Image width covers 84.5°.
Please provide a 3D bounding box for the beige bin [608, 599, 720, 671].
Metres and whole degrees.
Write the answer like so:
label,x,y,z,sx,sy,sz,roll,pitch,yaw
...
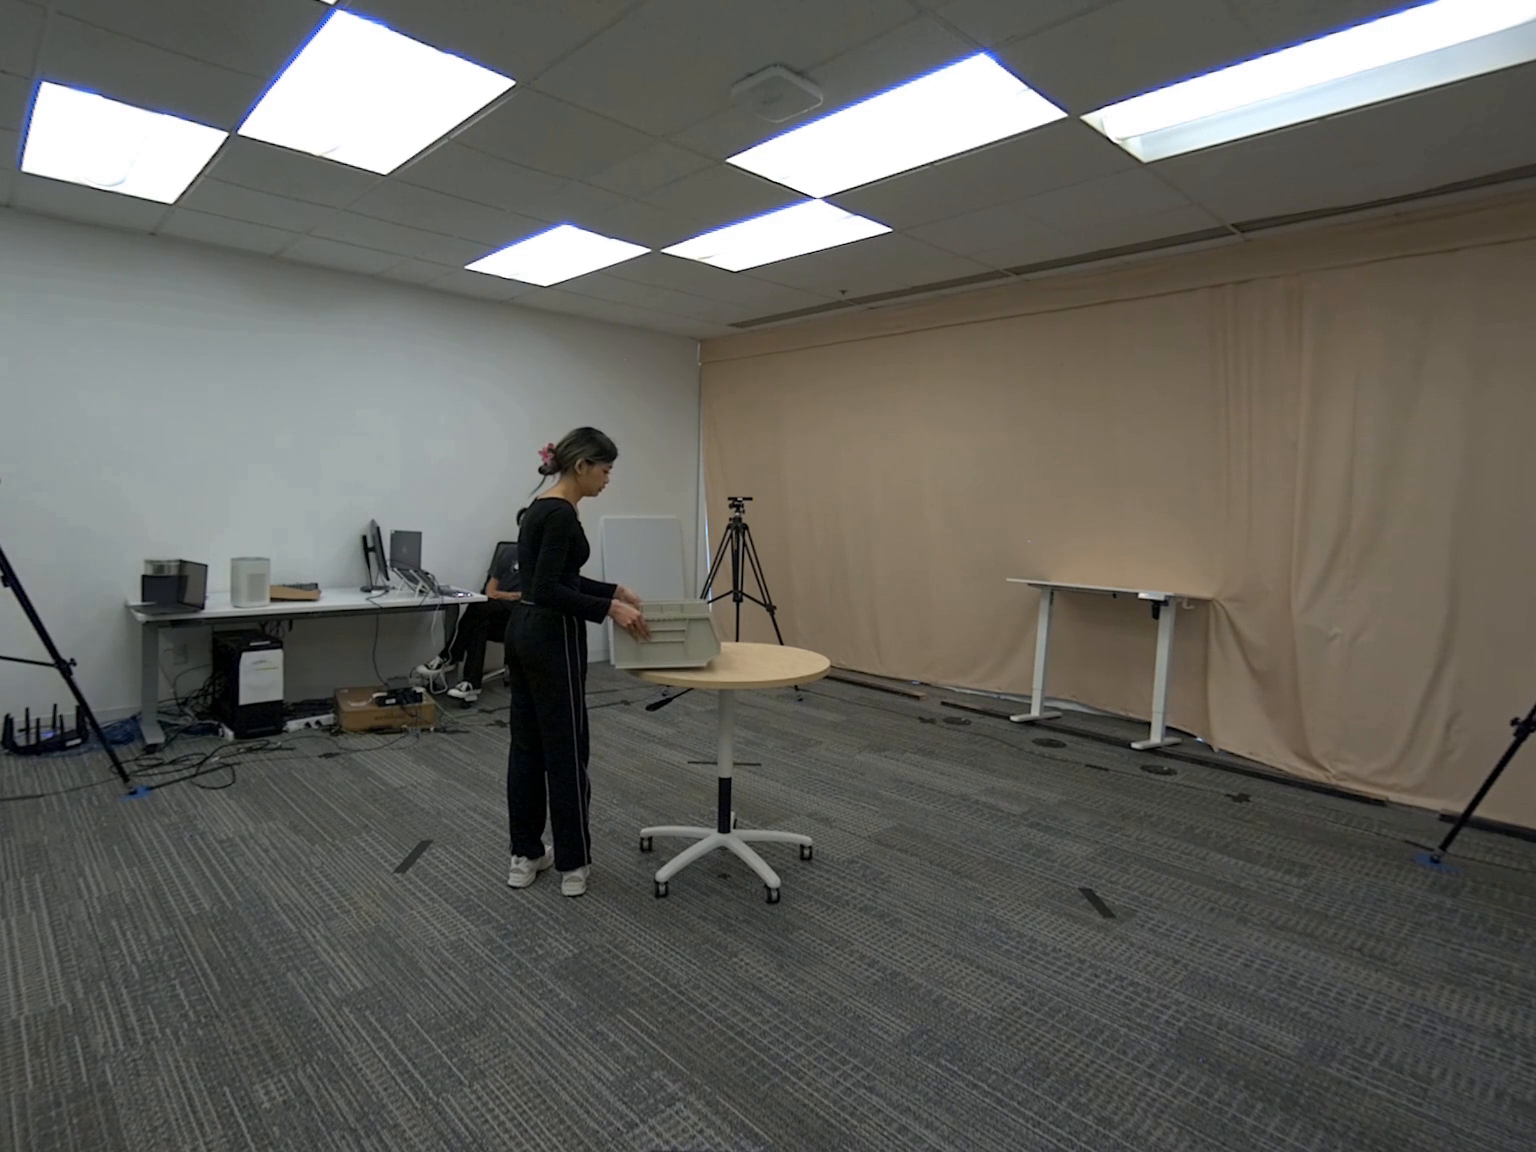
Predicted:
label,x,y,z,sx,sy,sz,roll,pitch,yaw
beige bin,-0.376,0.203,3.077,0.376,0.188,0.425,-2,7,-5
